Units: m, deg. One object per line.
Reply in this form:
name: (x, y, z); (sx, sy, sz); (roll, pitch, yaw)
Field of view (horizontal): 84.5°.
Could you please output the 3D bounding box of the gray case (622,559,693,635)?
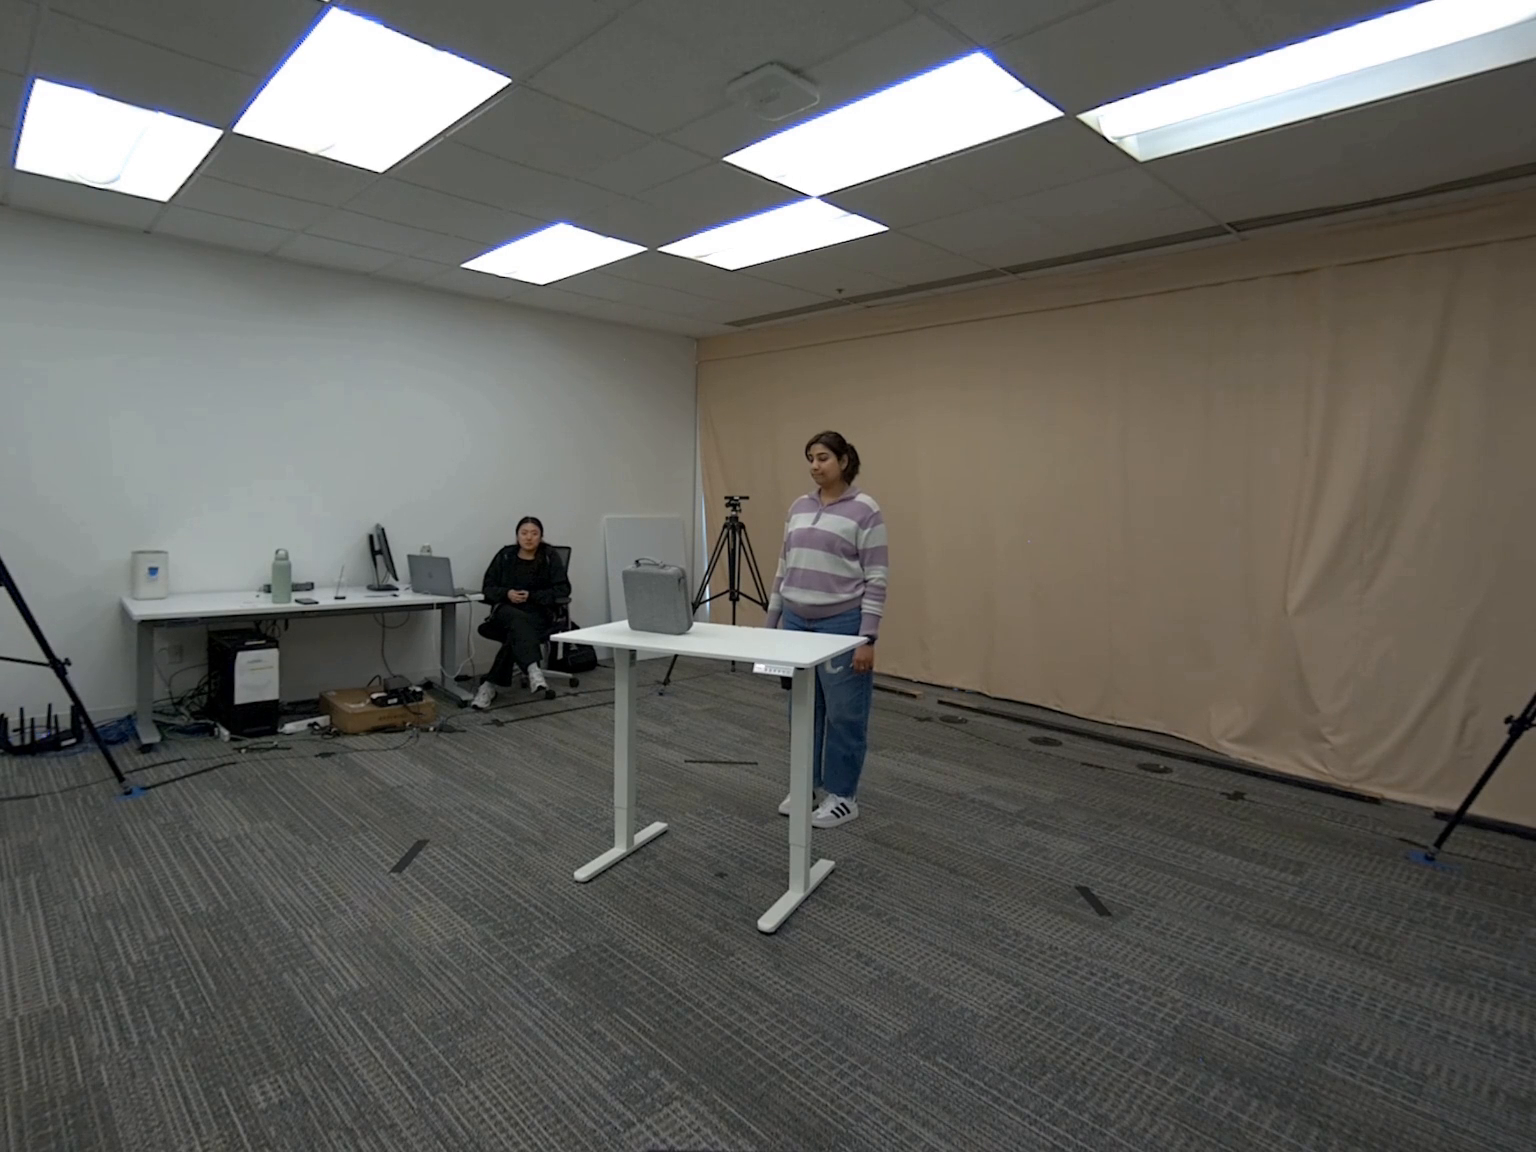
gray case: (-0.418, 0.081, 3.152); (0.262, 0.258, 0.103); (2, 14, 31)
